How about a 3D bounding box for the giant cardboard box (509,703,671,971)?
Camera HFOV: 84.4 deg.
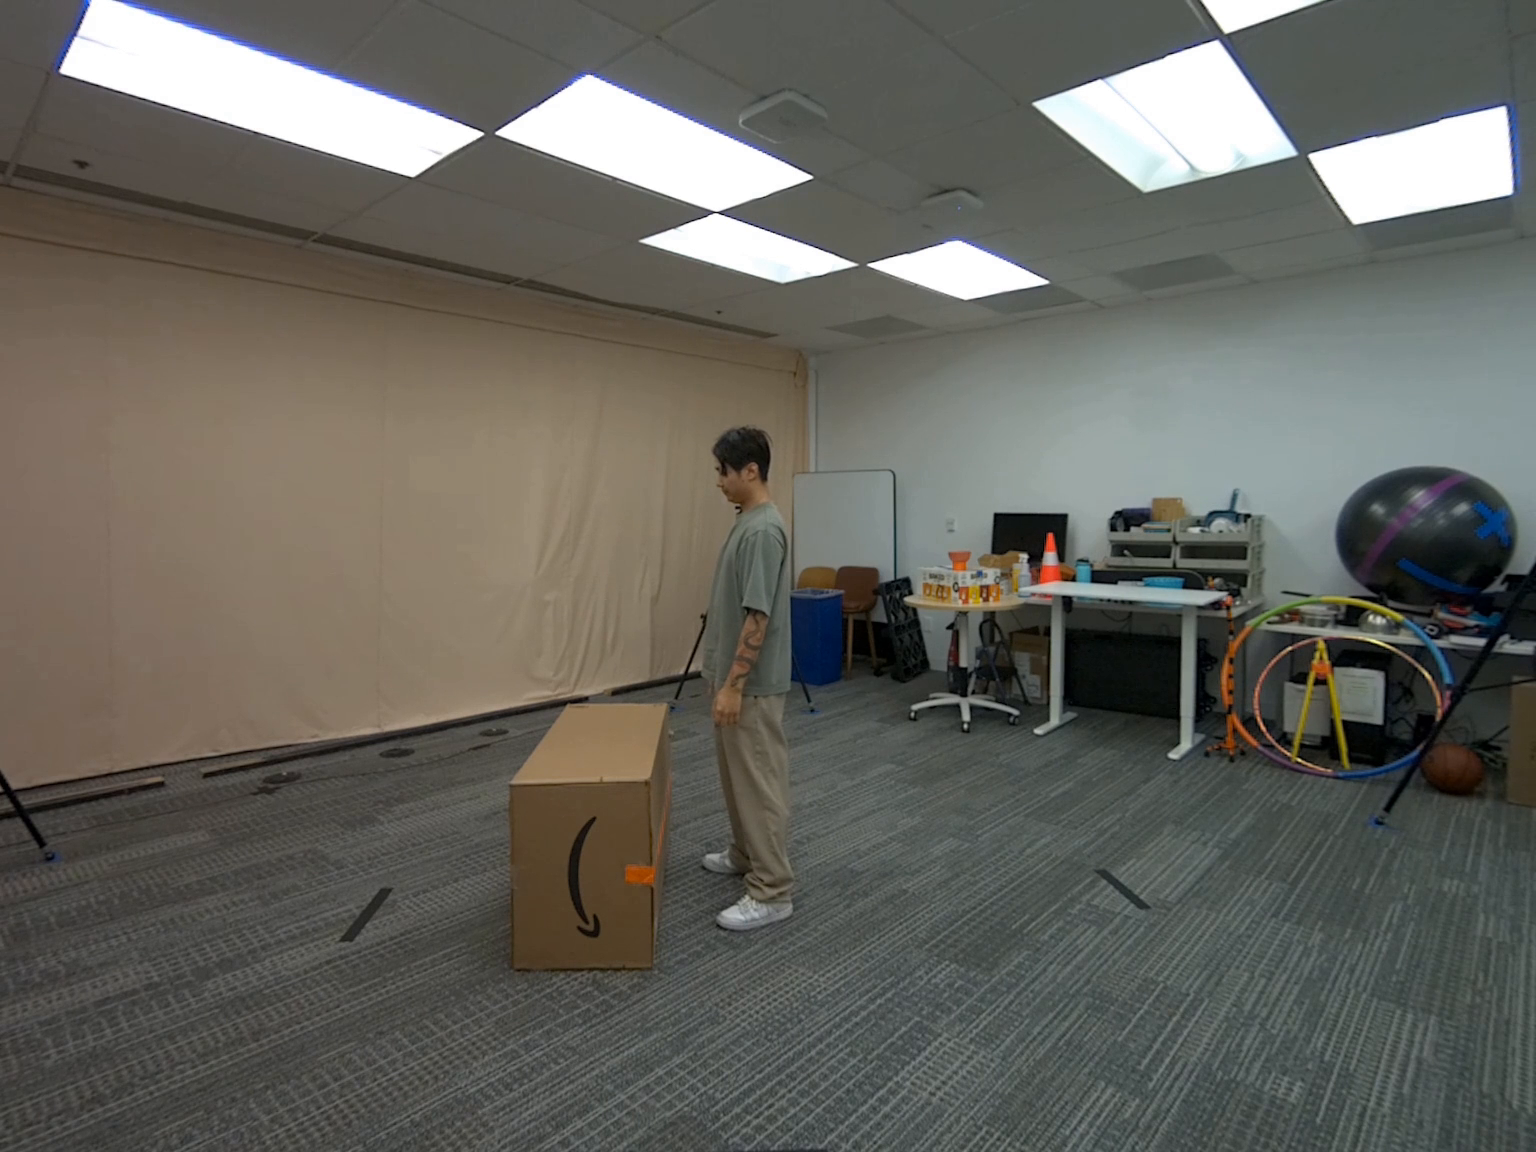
[{"bbox_3d":[-0.589,0.851,3.019,0.425,0.576,1.031,0,4,-4],"label":"giant cardboard box"}]
